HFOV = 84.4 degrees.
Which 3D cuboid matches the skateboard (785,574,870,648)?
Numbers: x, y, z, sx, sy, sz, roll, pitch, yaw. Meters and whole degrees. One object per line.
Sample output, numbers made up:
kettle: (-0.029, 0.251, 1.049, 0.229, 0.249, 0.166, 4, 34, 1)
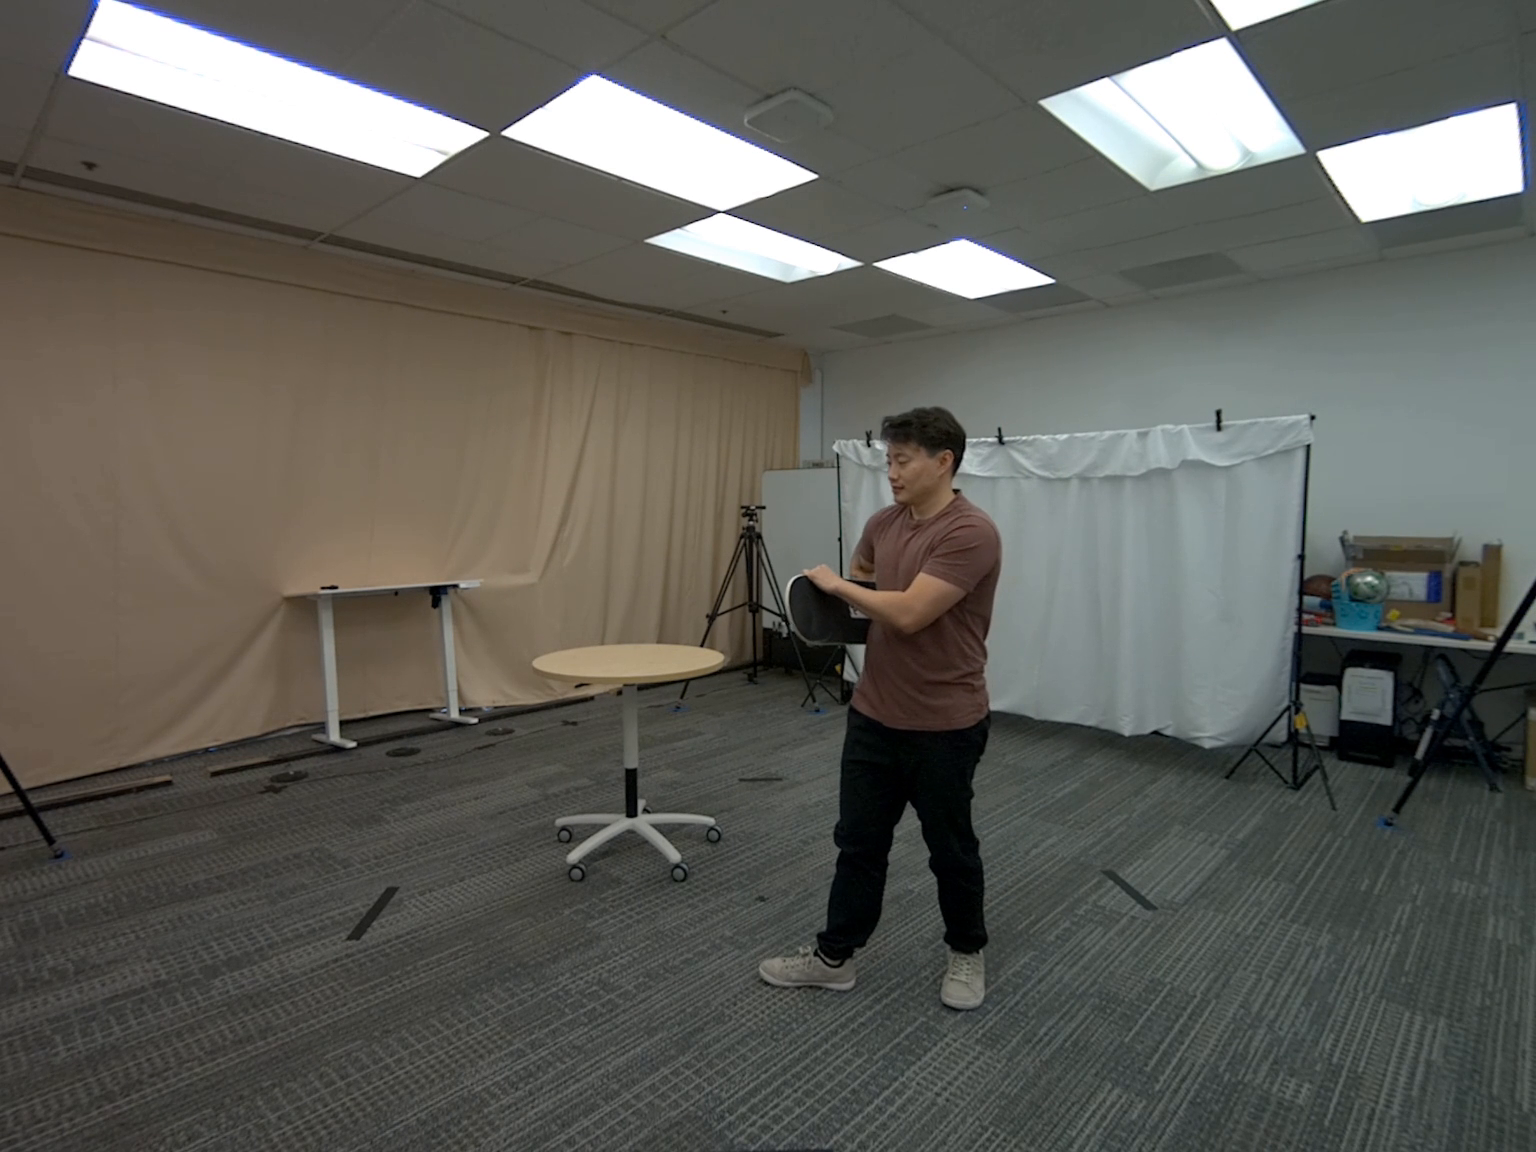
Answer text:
skateboard: (0.272, 0.116, 2.513, 0.113, 0.196, 0.759, -23, -18, 38)
